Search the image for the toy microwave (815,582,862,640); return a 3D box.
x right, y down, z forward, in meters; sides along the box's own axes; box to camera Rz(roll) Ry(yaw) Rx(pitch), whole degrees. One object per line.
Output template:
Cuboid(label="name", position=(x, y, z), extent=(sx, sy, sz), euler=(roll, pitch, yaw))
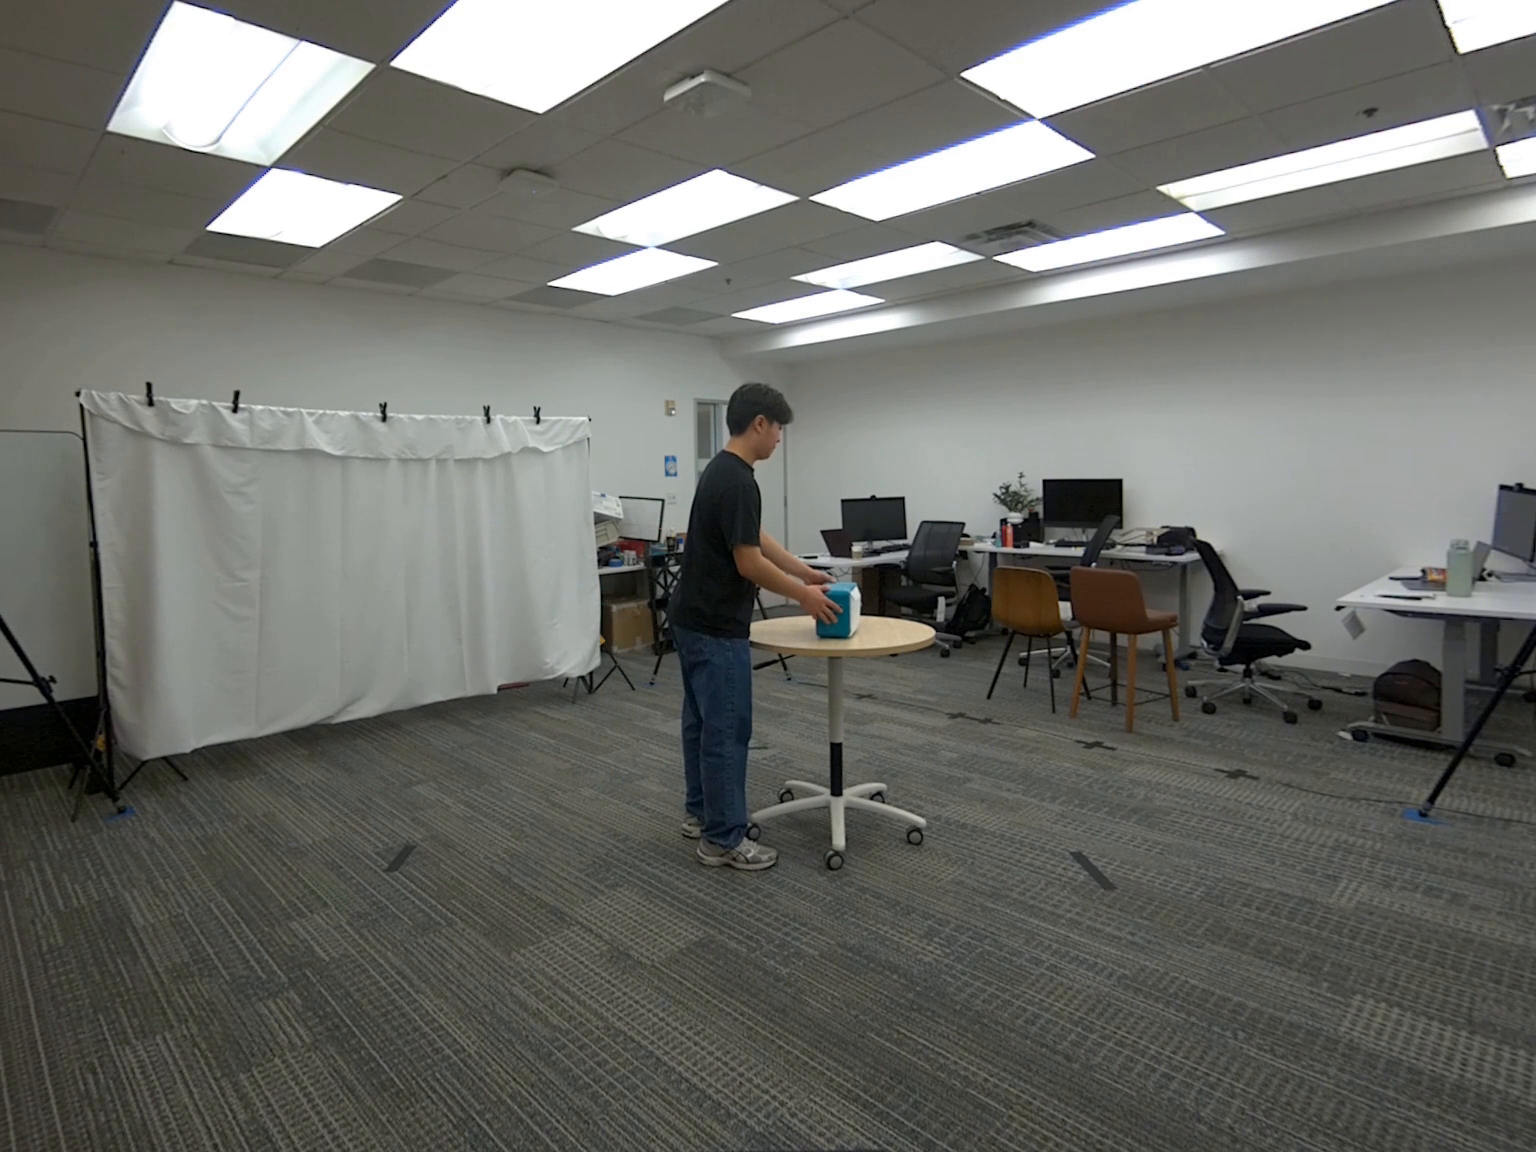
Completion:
Cuboid(label="toy microwave", position=(0.273, 0.126, 3.273), extent=(0.154, 0.183, 0.283), euler=(0, 4, 13))
